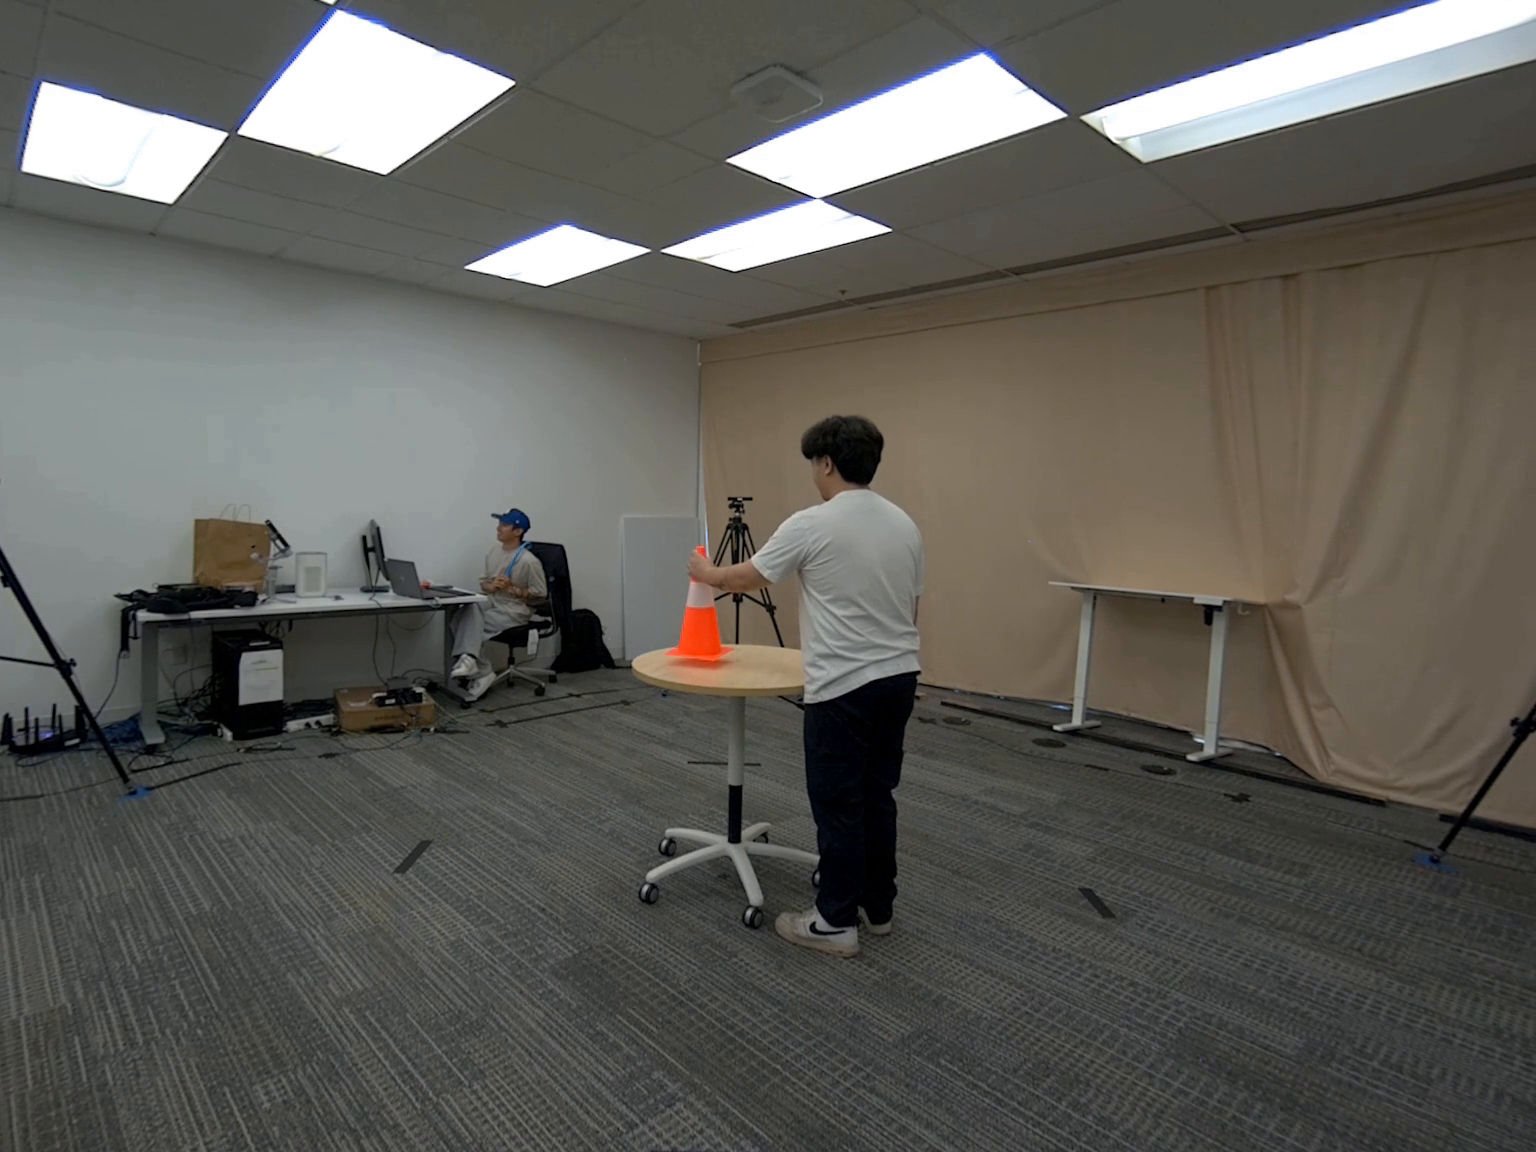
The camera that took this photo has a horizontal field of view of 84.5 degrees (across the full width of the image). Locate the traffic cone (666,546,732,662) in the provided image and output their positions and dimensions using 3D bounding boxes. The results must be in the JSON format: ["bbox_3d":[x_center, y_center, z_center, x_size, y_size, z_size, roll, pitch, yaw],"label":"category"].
[{"bbox_3d":[-0.241,0.095,3.007,0.207,0.382,0.202,4,6,23],"label":"traffic cone"}]
